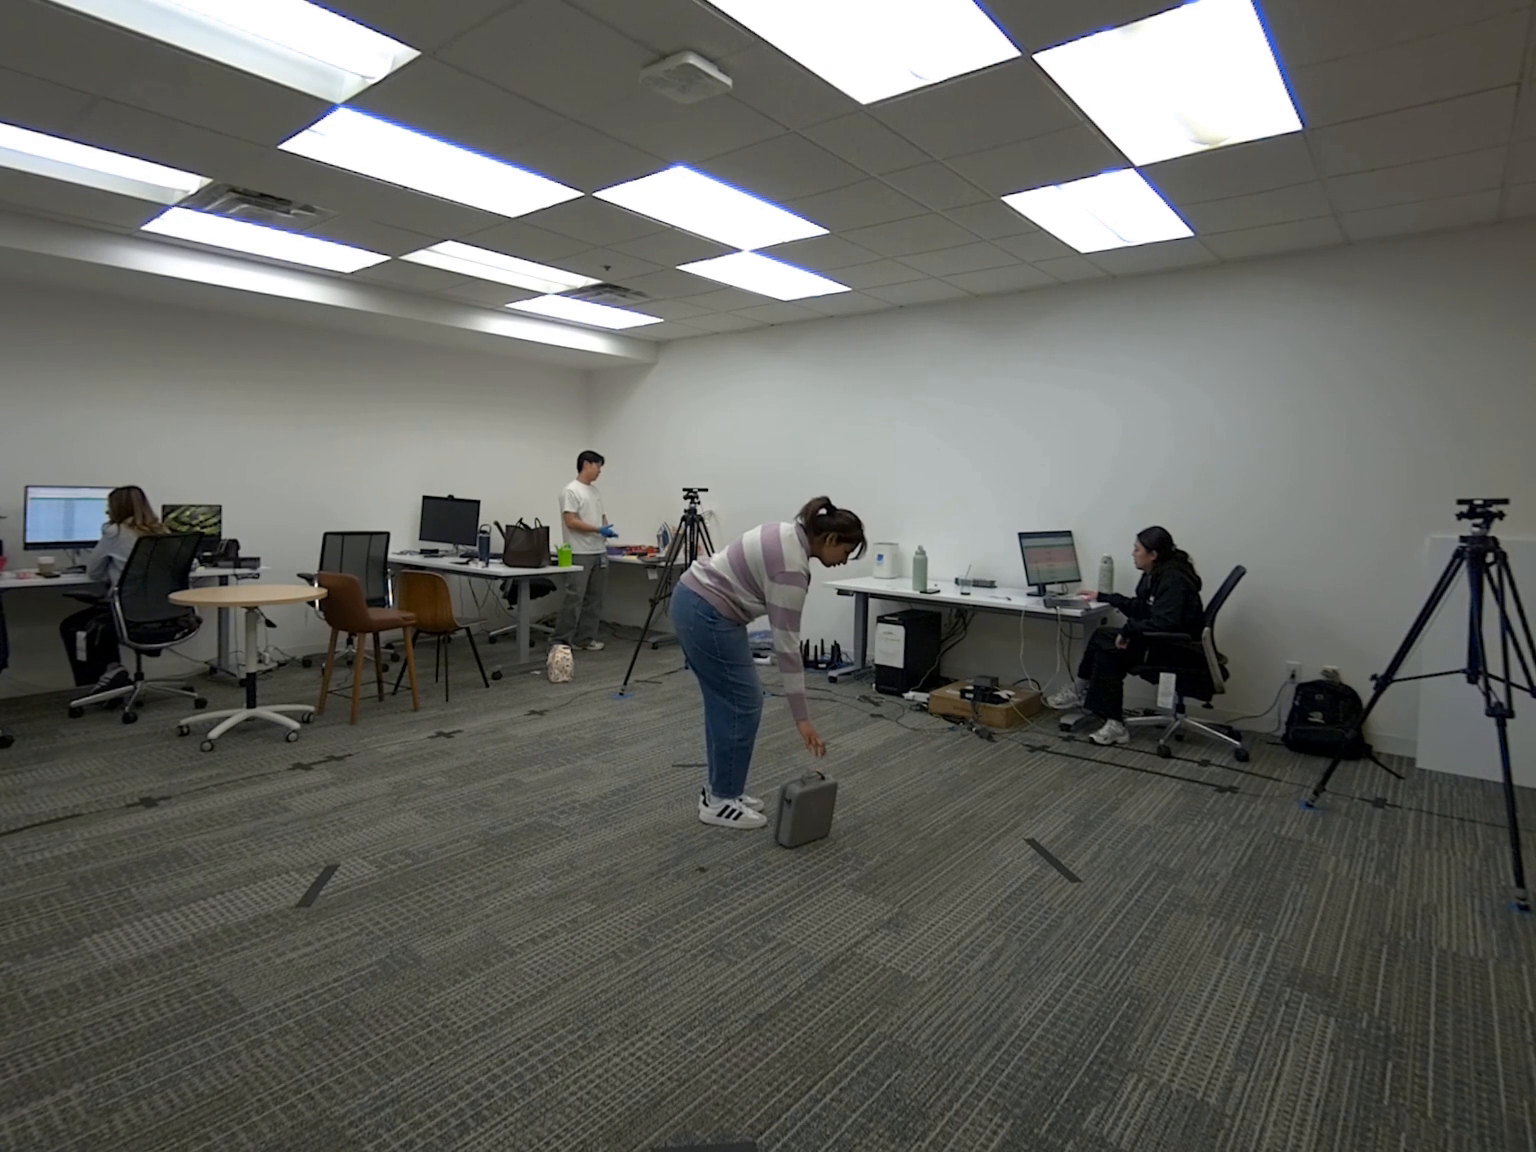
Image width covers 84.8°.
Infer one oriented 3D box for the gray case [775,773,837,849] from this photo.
[{"bbox_3d":[0.146,0.919,3.381,0.249,0.258,0.108,-2,14,-41],"label":"gray case"}]
